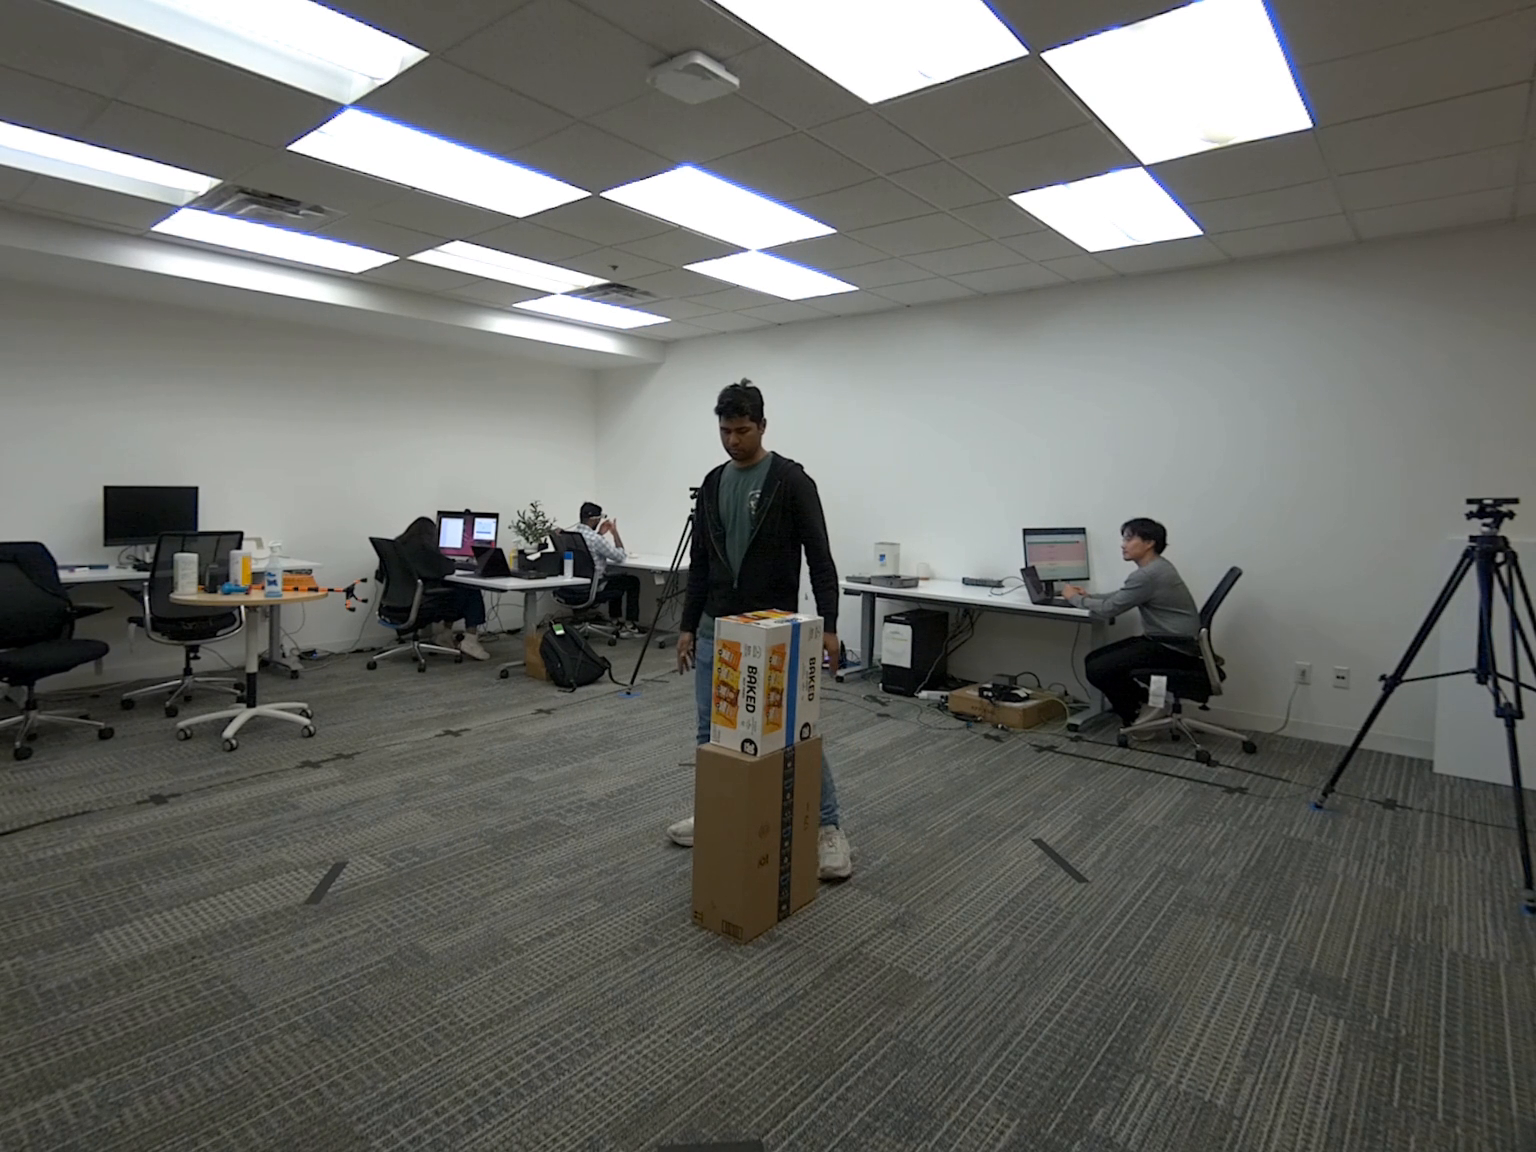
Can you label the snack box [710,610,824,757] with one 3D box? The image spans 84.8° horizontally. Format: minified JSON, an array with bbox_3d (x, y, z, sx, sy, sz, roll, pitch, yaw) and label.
[{"bbox_3d":[-0.010,0.331,2.791,0.213,0.403,0.330,6,6,36],"label":"snack box"}]
